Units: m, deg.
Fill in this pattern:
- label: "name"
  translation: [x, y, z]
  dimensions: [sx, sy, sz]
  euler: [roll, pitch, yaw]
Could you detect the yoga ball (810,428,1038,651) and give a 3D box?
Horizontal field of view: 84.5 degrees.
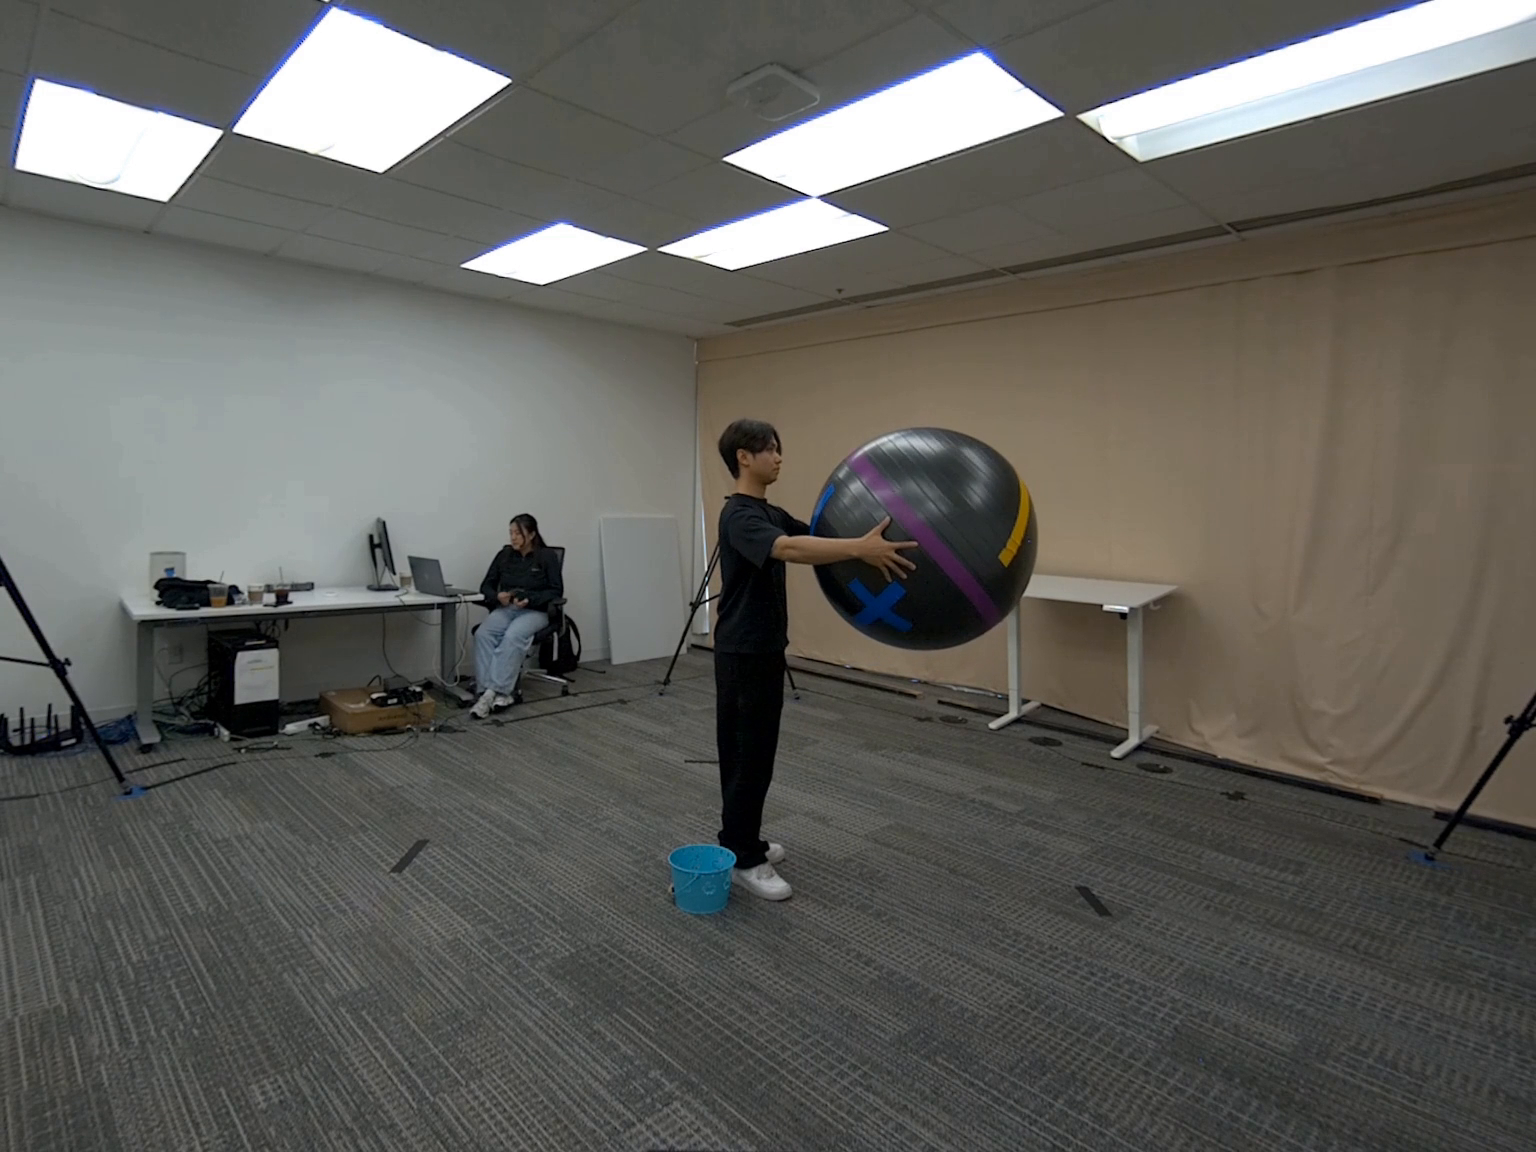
- label: "yoga ball"
  translation: [0.532, -0.119, 2.879]
  dimensions: [0.757, 0.756, 0.761]
  euler: [1, 4, -1]
